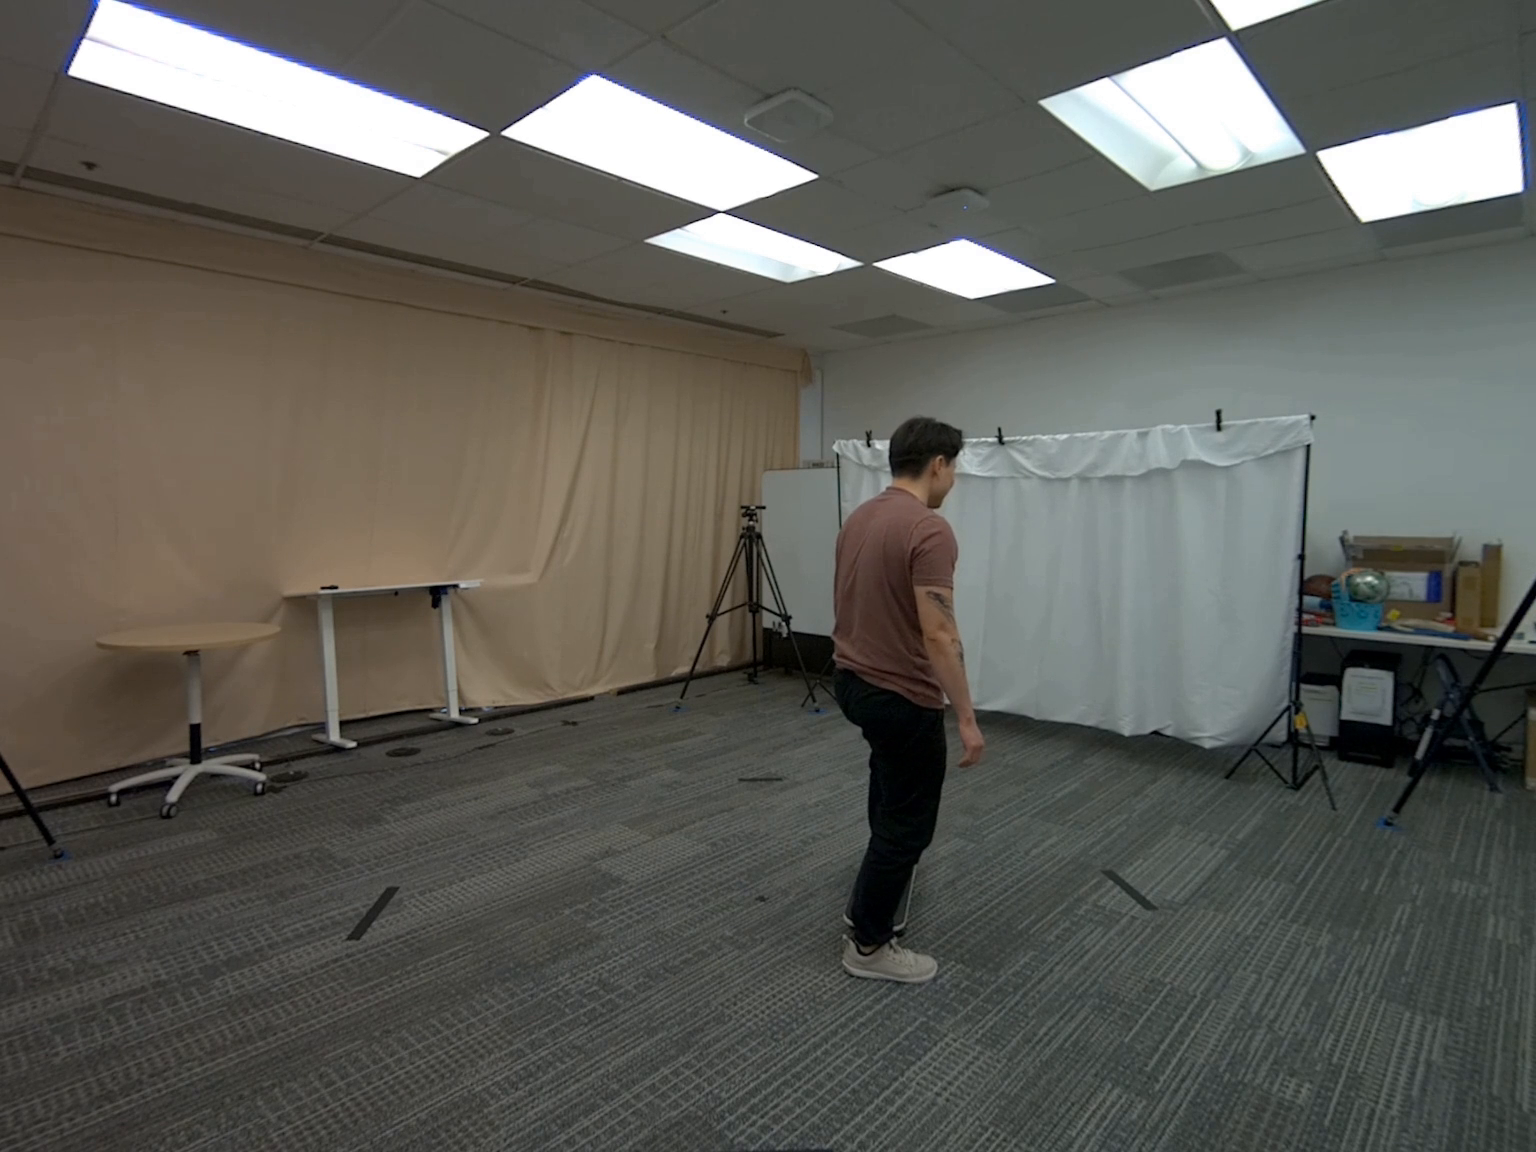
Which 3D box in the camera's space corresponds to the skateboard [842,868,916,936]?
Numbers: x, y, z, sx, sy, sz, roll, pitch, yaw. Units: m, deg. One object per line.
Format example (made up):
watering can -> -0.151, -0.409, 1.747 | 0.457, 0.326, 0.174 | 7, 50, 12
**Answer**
skateboard -> 0.421, 1.095, 2.936 | 0.197, 0.110, 0.774 | 1, 5, 14
